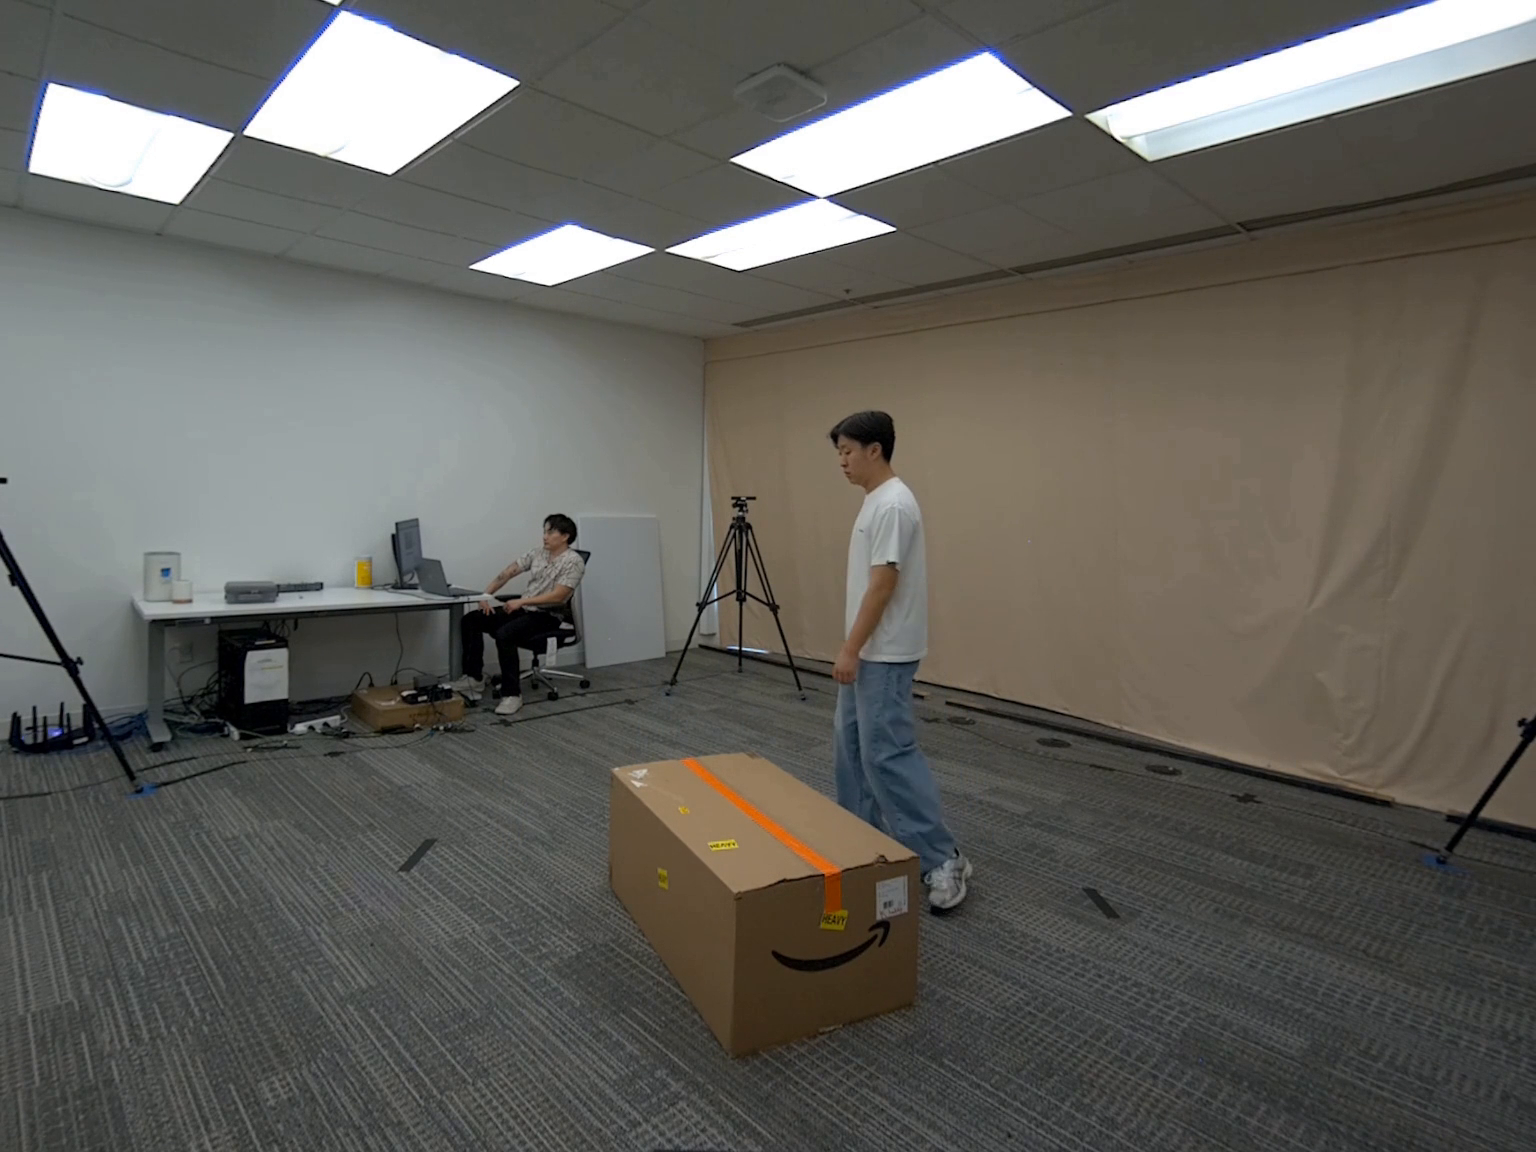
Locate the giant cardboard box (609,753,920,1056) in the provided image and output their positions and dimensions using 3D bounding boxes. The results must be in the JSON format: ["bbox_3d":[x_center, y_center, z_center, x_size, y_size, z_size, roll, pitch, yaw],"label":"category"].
[{"bbox_3d":[-0.078,0.936,2.649,0.567,0.425,1.048,-1,6,-27],"label":"giant cardboard box"}]
